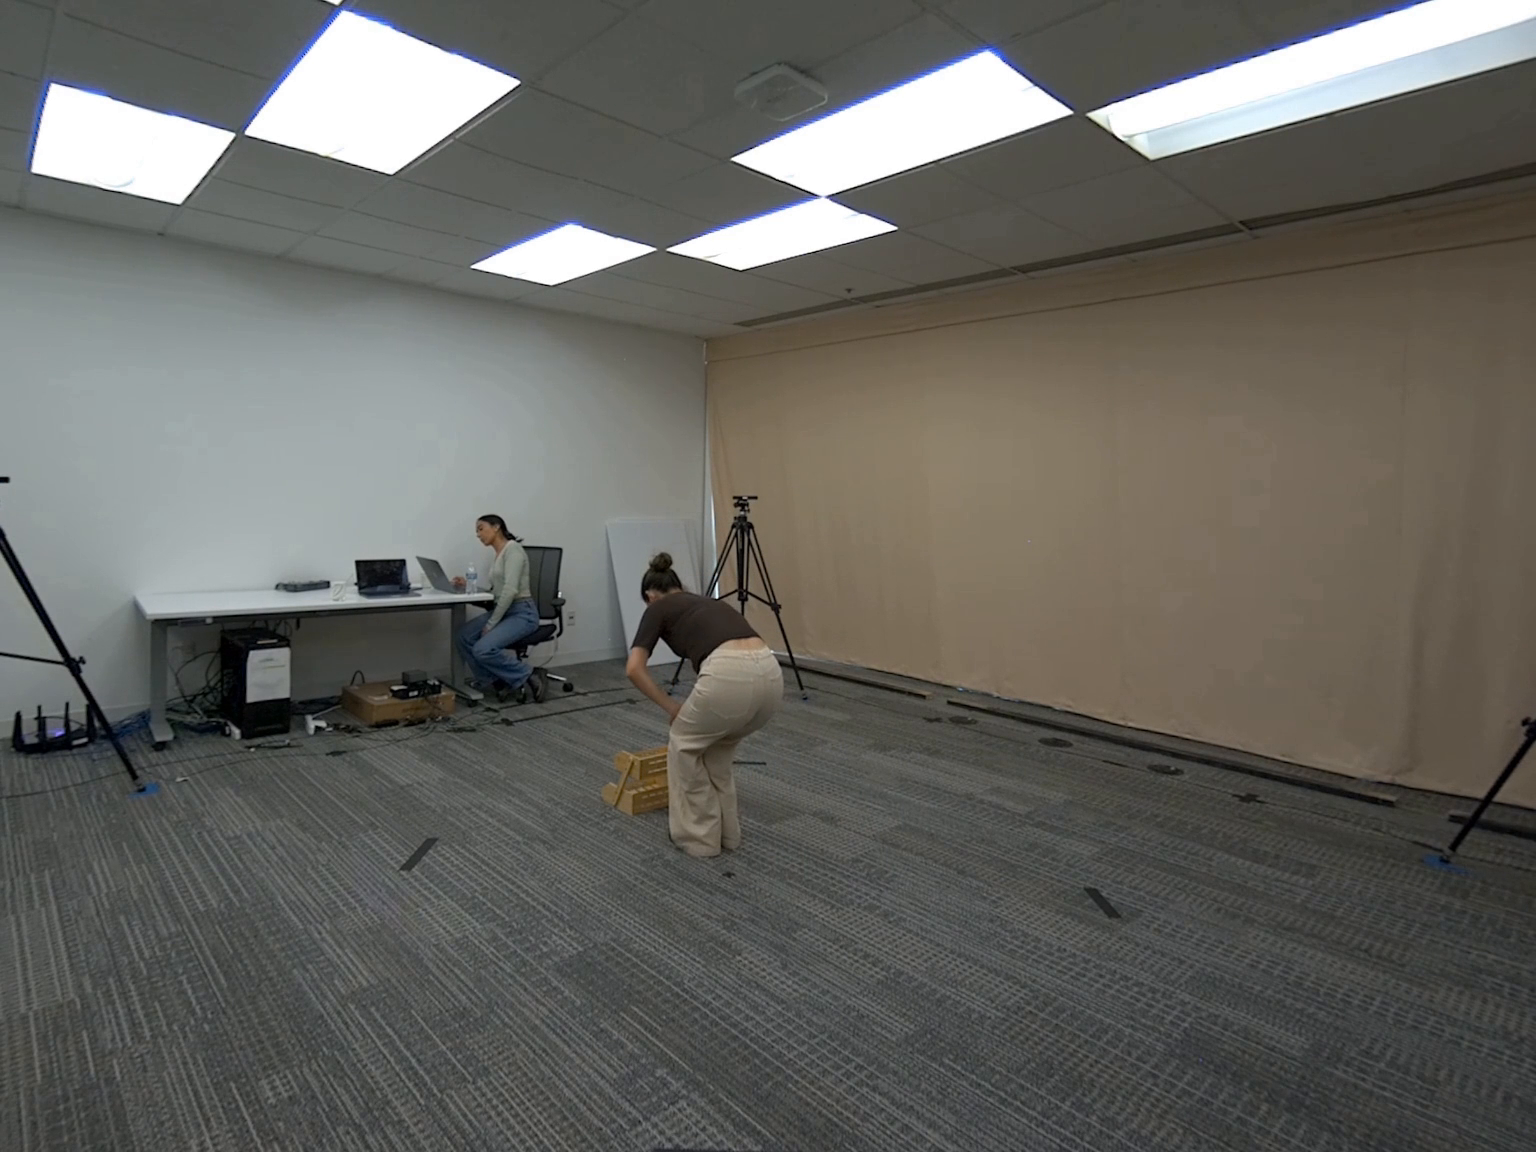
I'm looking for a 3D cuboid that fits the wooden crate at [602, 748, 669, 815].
[{"bbox_3d":[-0.560,0.898,3.834,0.317,0.272,0.310,-2,6,-43],"label":"wooden crate"}]
